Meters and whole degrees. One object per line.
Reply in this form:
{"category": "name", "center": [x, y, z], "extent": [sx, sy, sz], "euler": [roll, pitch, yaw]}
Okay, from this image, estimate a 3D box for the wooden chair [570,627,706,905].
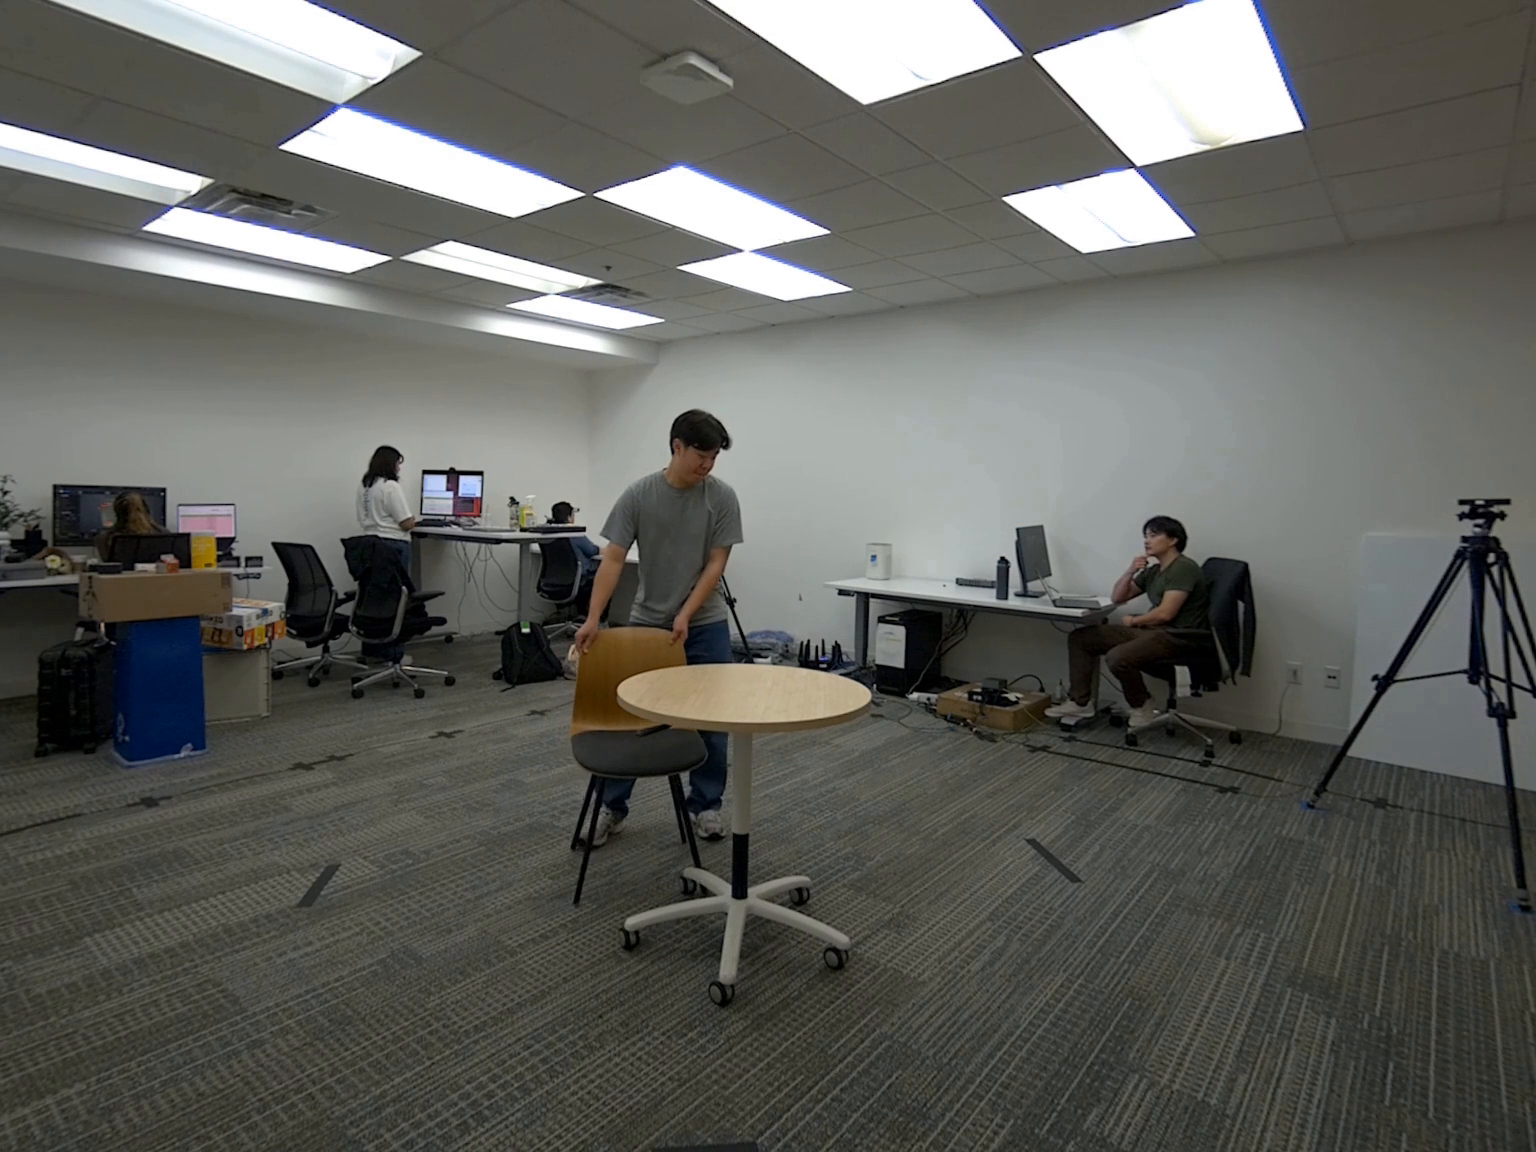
{"category": "wooden chair", "center": [-0.486, 0.640, 3.052], "extent": [0.471, 0.879, 0.530], "euler": [1, -2, -14]}
